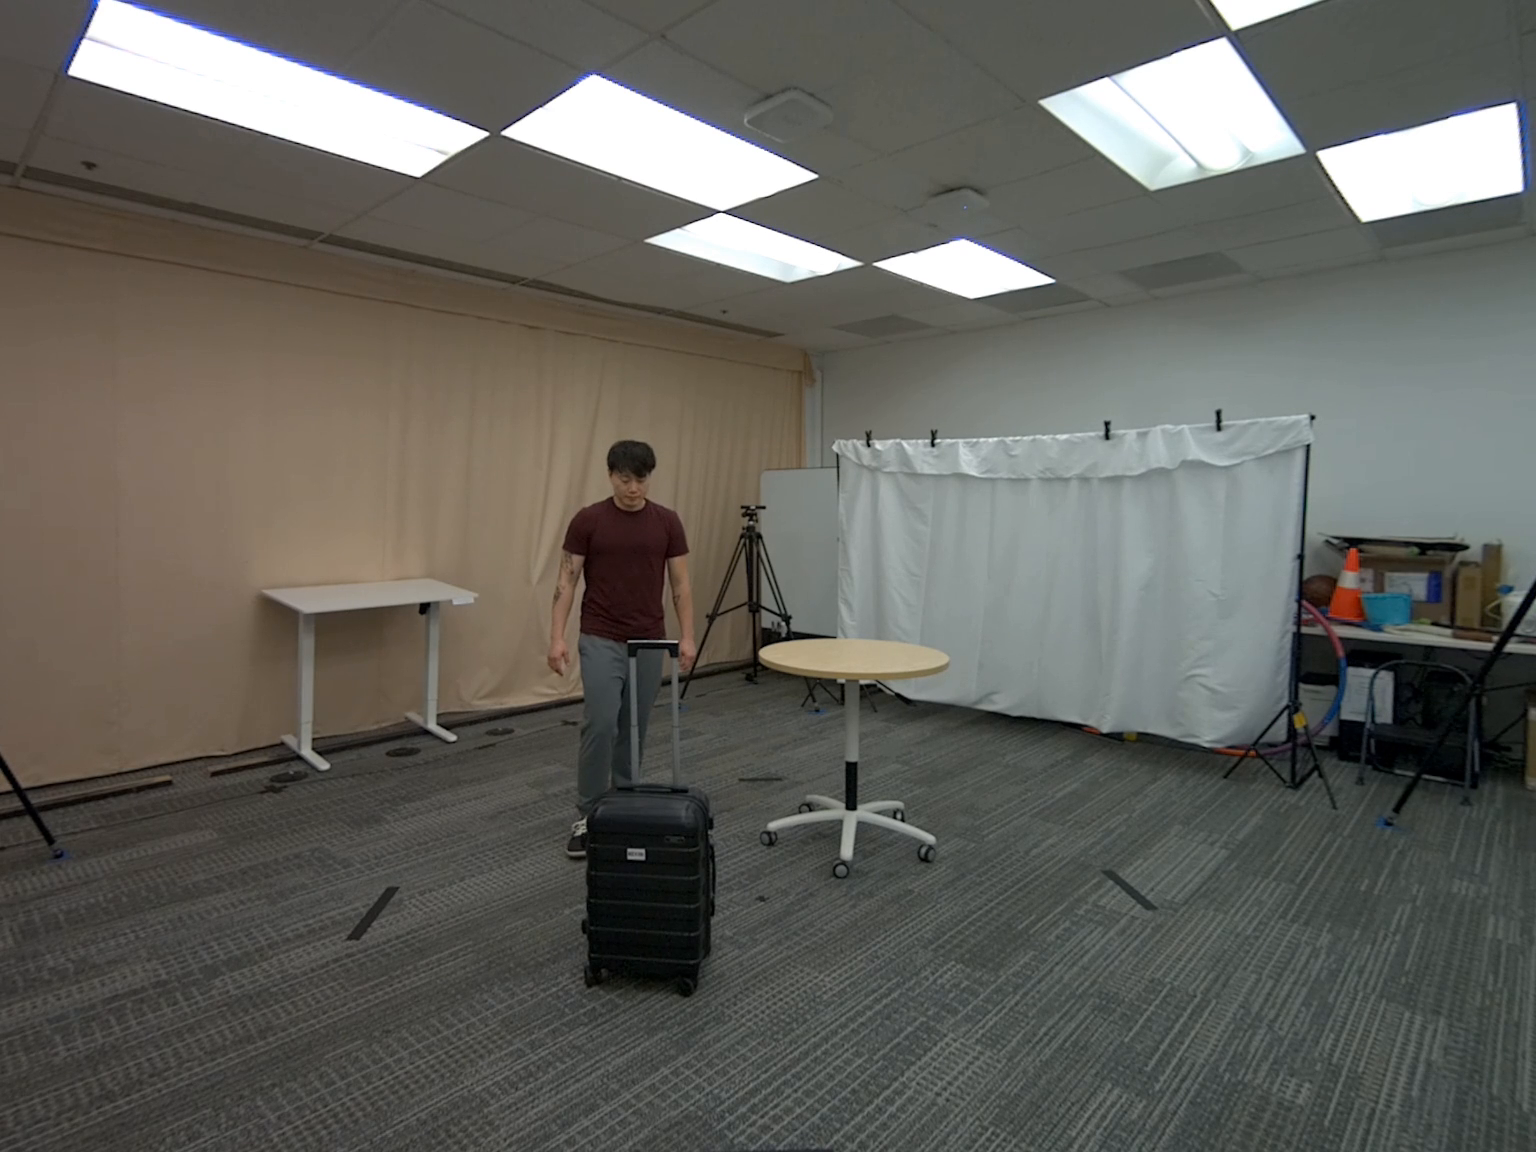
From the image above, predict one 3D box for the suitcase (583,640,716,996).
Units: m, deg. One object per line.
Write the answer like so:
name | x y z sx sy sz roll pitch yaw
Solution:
suitcase | -0.349 0.709 2.487 0.386 0.975 0.256 0 5 5
